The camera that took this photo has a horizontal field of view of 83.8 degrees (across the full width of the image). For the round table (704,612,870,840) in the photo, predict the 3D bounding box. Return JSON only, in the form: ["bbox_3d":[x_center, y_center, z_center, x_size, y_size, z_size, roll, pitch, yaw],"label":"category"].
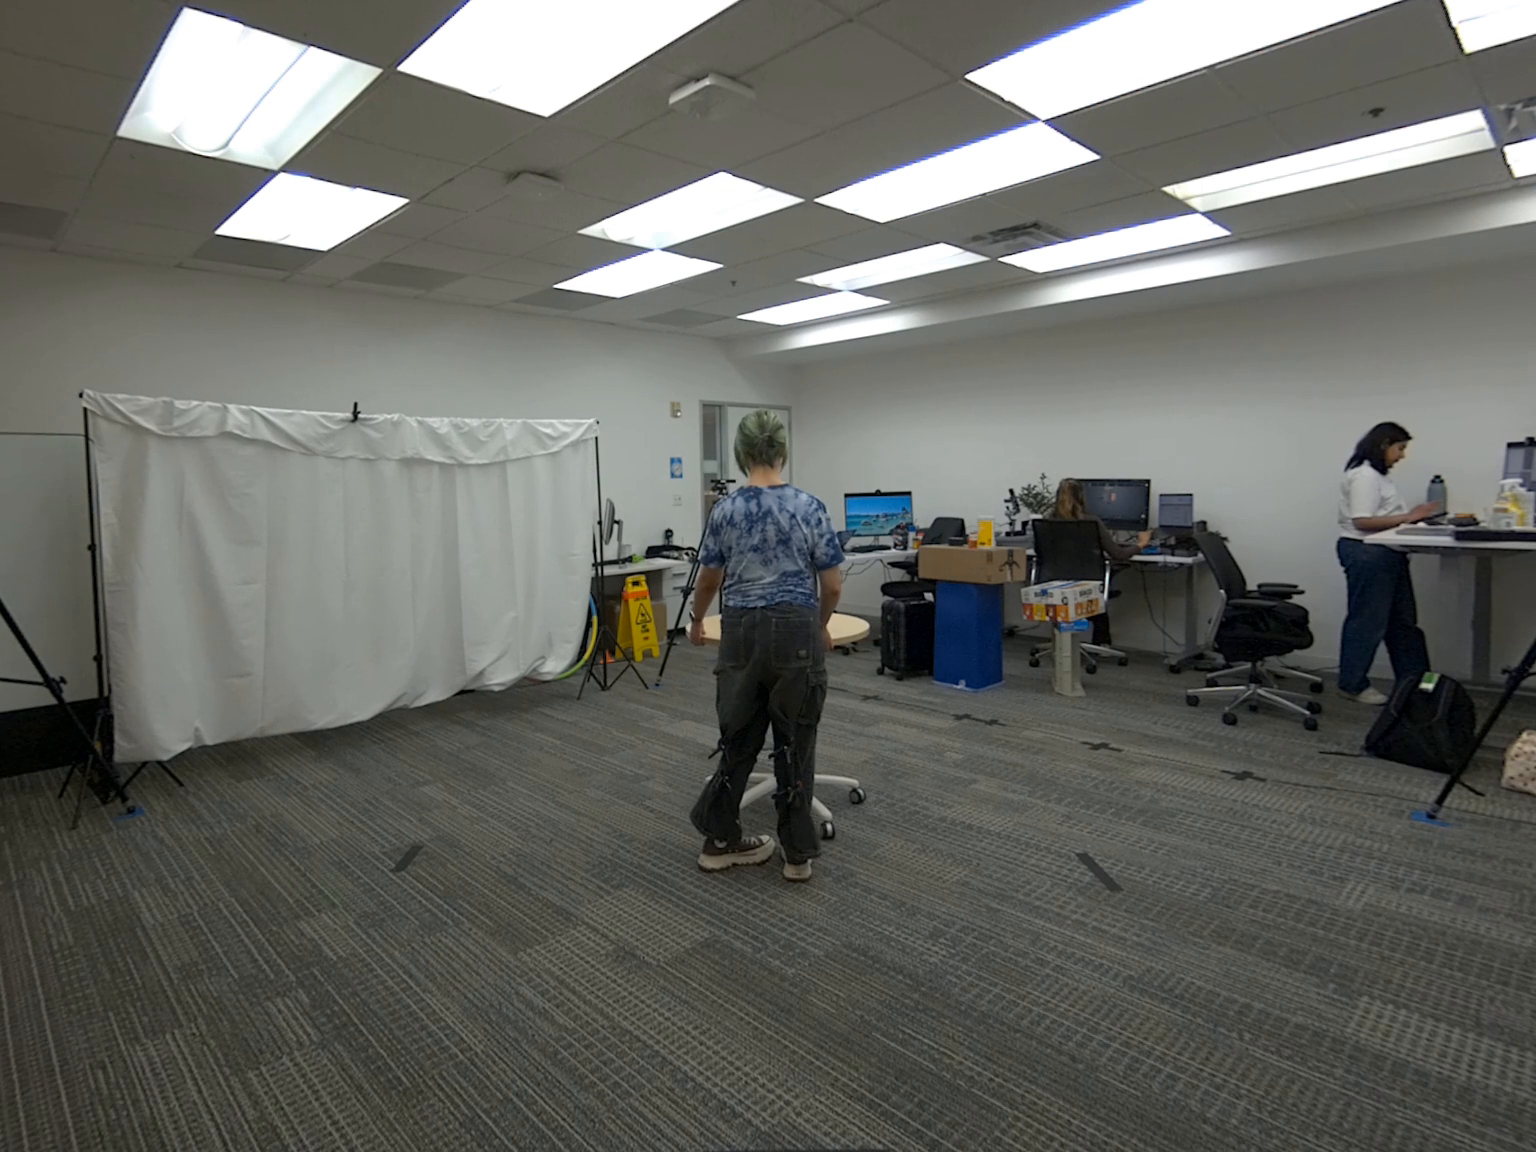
[{"bbox_3d":[0.049,0.602,3.602,0.763,0.791,0.768,-2,5,-2],"label":"round table"}]
